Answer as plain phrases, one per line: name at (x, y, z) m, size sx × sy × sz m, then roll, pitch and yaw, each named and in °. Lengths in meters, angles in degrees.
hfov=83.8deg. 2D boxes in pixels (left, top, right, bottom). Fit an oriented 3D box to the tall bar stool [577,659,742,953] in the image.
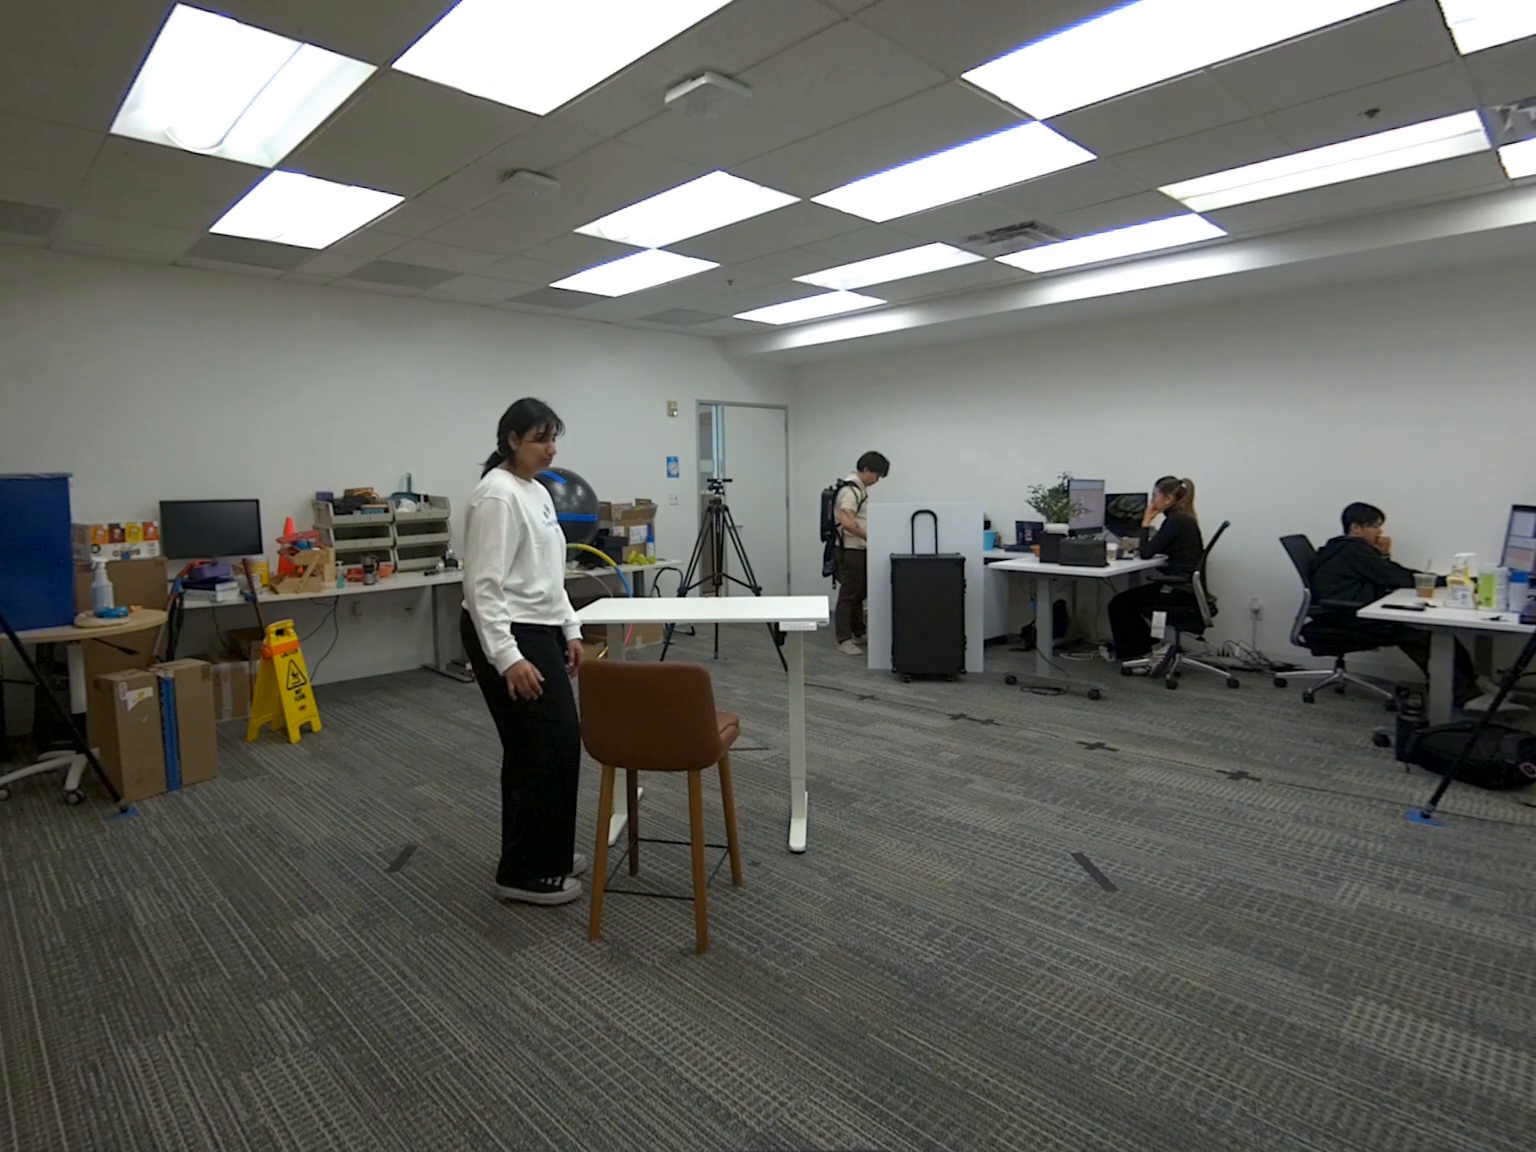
tall bar stool at (-0.330, 0.659, 2.749) m, size 0.463 × 0.885 × 0.464 m, roll 0°, pitch 6°, yaw 13°
